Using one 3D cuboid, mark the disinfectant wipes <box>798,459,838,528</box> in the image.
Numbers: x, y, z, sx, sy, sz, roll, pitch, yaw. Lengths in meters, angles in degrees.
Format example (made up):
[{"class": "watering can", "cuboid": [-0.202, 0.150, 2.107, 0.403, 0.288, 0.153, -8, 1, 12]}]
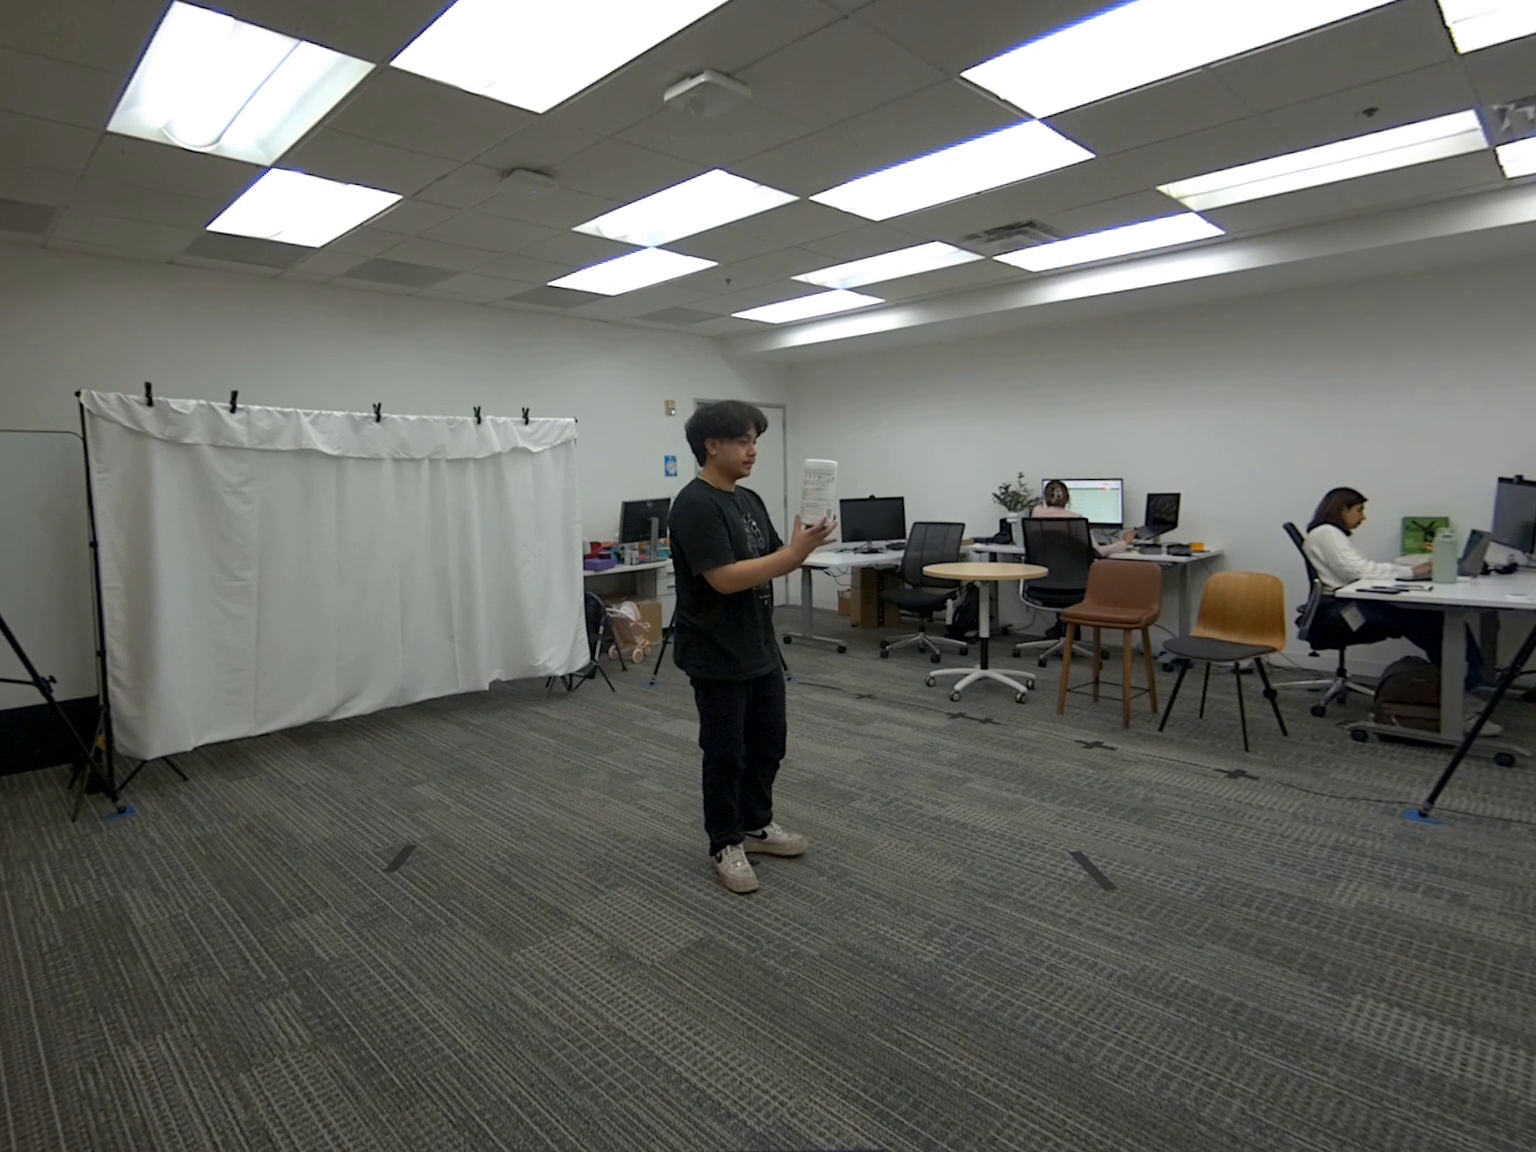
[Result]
[{"class": "disinfectant wipes", "cuboid": [0.168, -0.272, 2.807, 0.117, 0.217, 0.118, 3, 4, -2]}]
